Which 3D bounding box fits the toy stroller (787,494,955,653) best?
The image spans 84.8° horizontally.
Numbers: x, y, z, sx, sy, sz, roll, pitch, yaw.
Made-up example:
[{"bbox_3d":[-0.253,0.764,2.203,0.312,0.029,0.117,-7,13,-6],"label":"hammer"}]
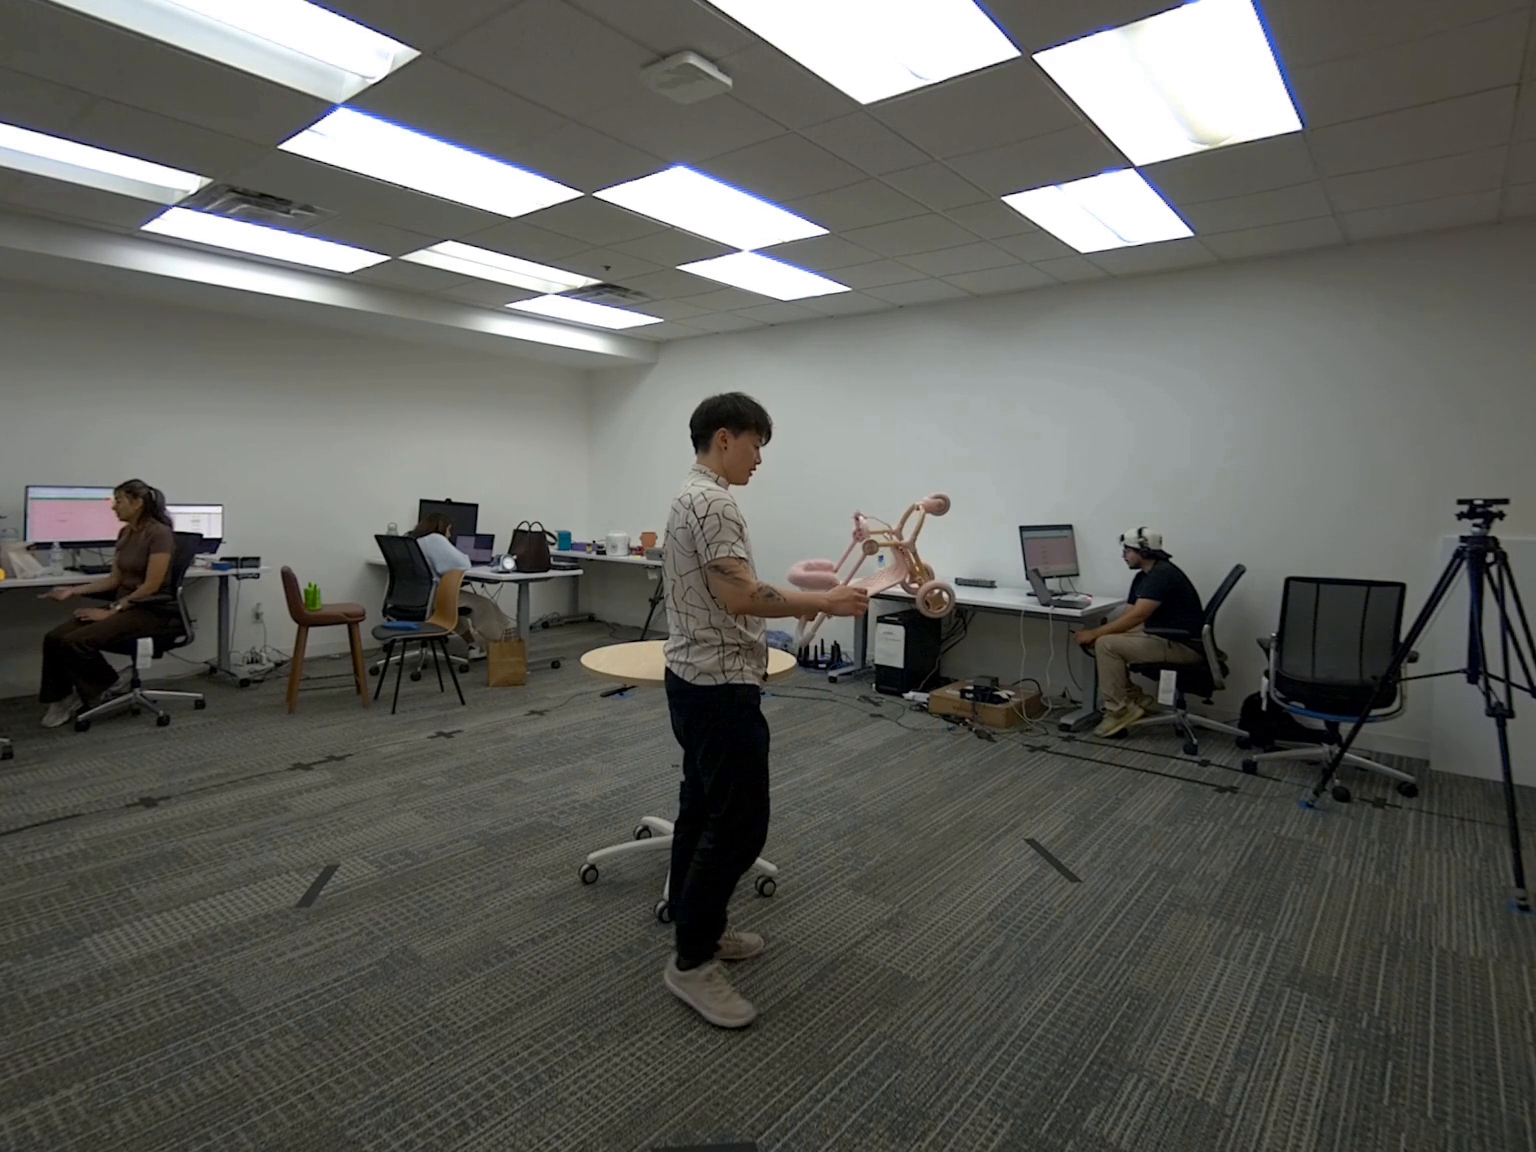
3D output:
[{"bbox_3d":[0.292,-0.023,2.484,0.537,0.335,0.285,-14,16,5],"label":"toy stroller"}]
